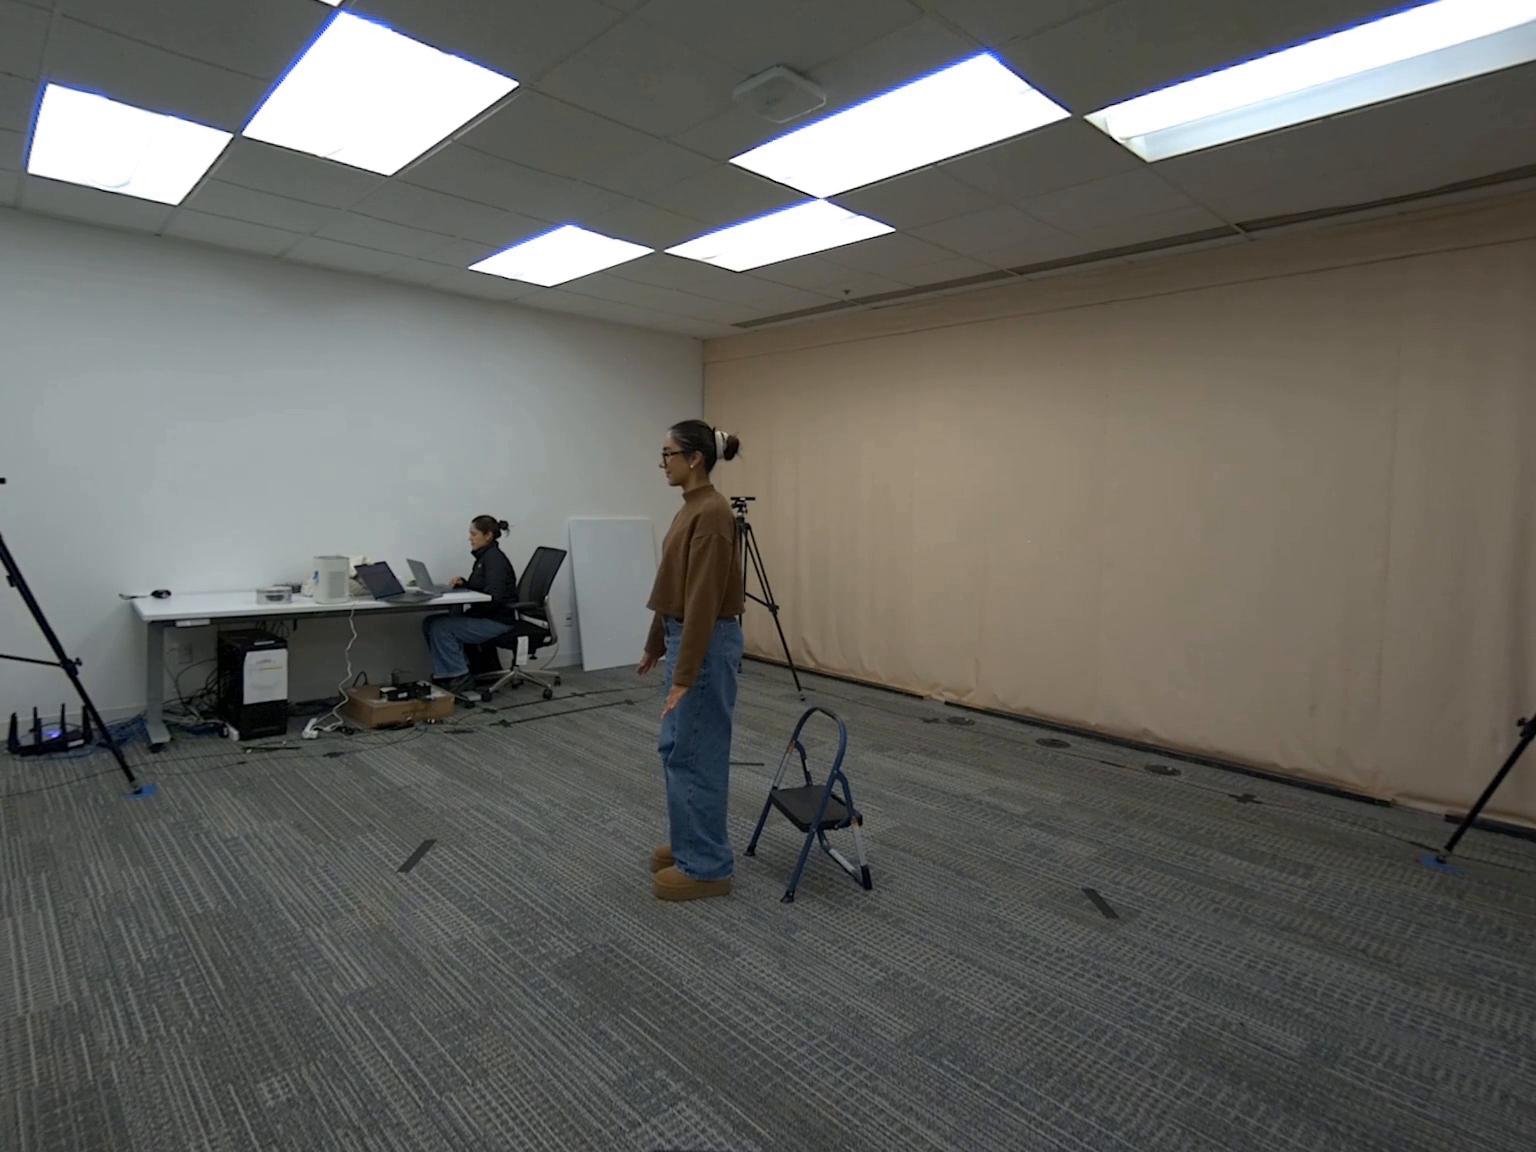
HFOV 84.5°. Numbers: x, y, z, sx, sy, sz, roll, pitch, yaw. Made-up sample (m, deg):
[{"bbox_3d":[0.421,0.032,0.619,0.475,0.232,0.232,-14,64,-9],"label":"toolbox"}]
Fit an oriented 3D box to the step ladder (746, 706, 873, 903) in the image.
[{"bbox_3d":[0.143,0.813,3.139,0.344,0.604,0.438,-1,4,-21],"label":"step ladder"}]
